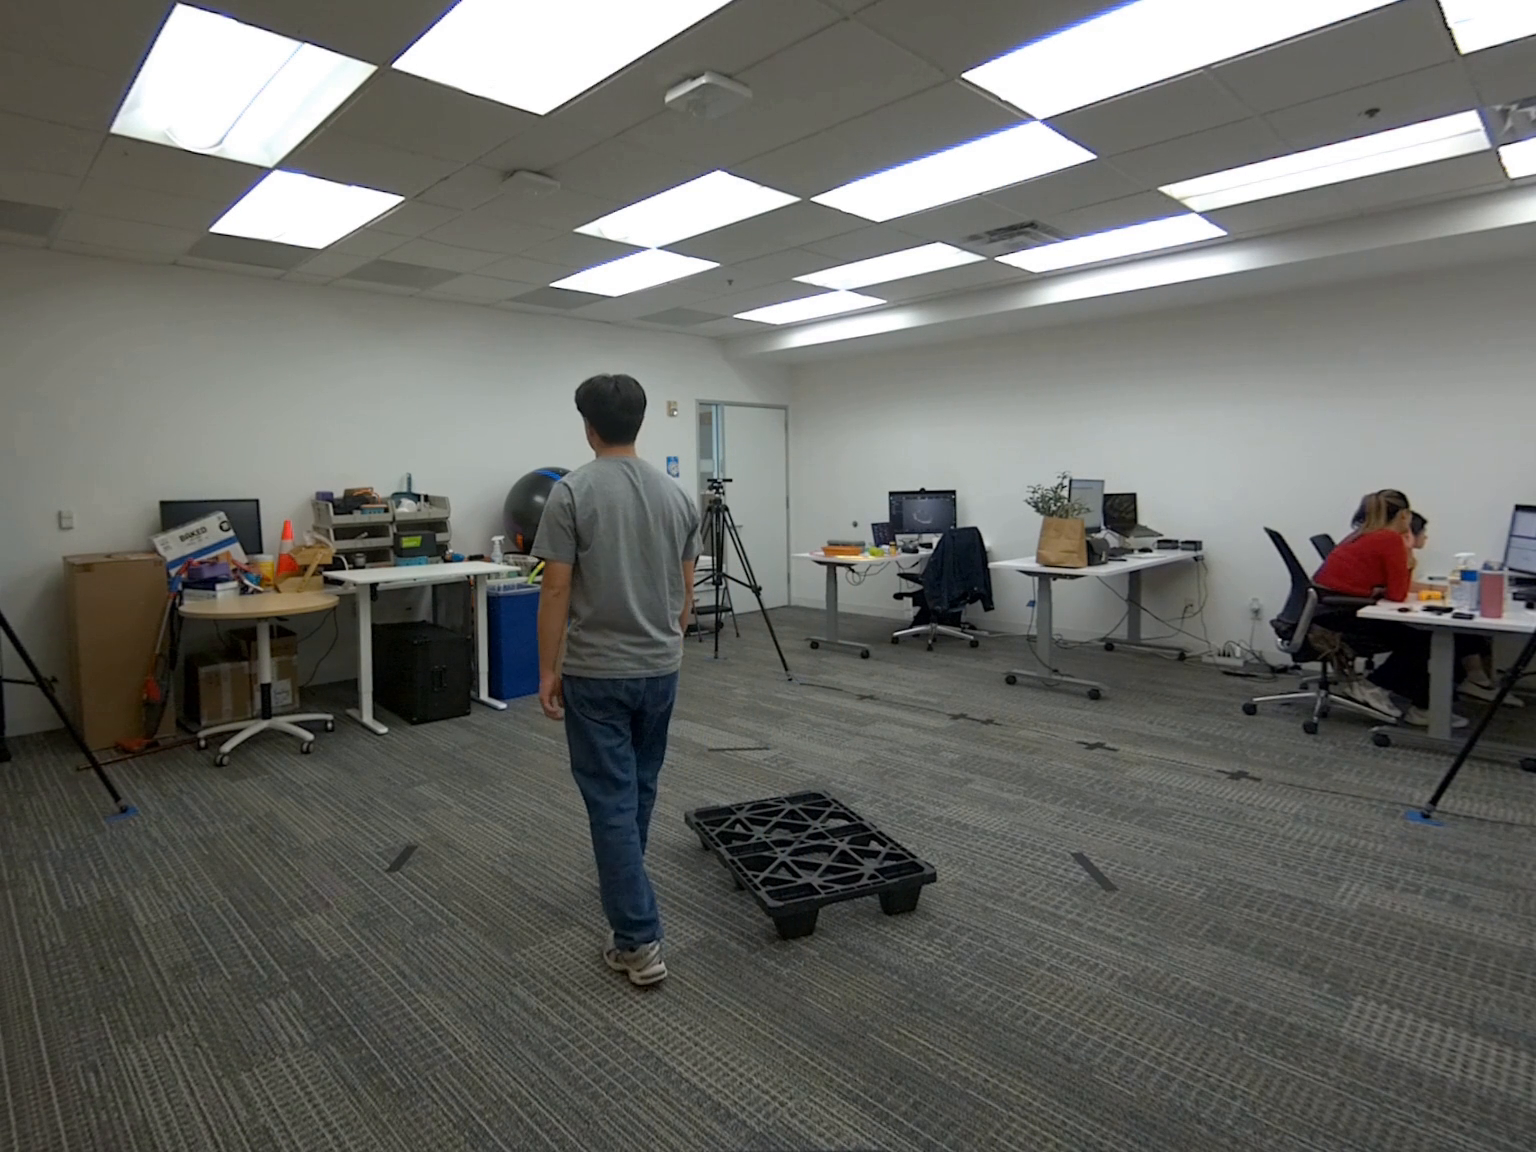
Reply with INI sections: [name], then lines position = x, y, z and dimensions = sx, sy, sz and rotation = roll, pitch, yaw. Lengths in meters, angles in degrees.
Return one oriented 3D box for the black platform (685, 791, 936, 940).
[black platform]
position = 0.113, 0.986, 2.998
dimensions = 0.594, 0.142, 0.825
rotation = -4, 7, -23
